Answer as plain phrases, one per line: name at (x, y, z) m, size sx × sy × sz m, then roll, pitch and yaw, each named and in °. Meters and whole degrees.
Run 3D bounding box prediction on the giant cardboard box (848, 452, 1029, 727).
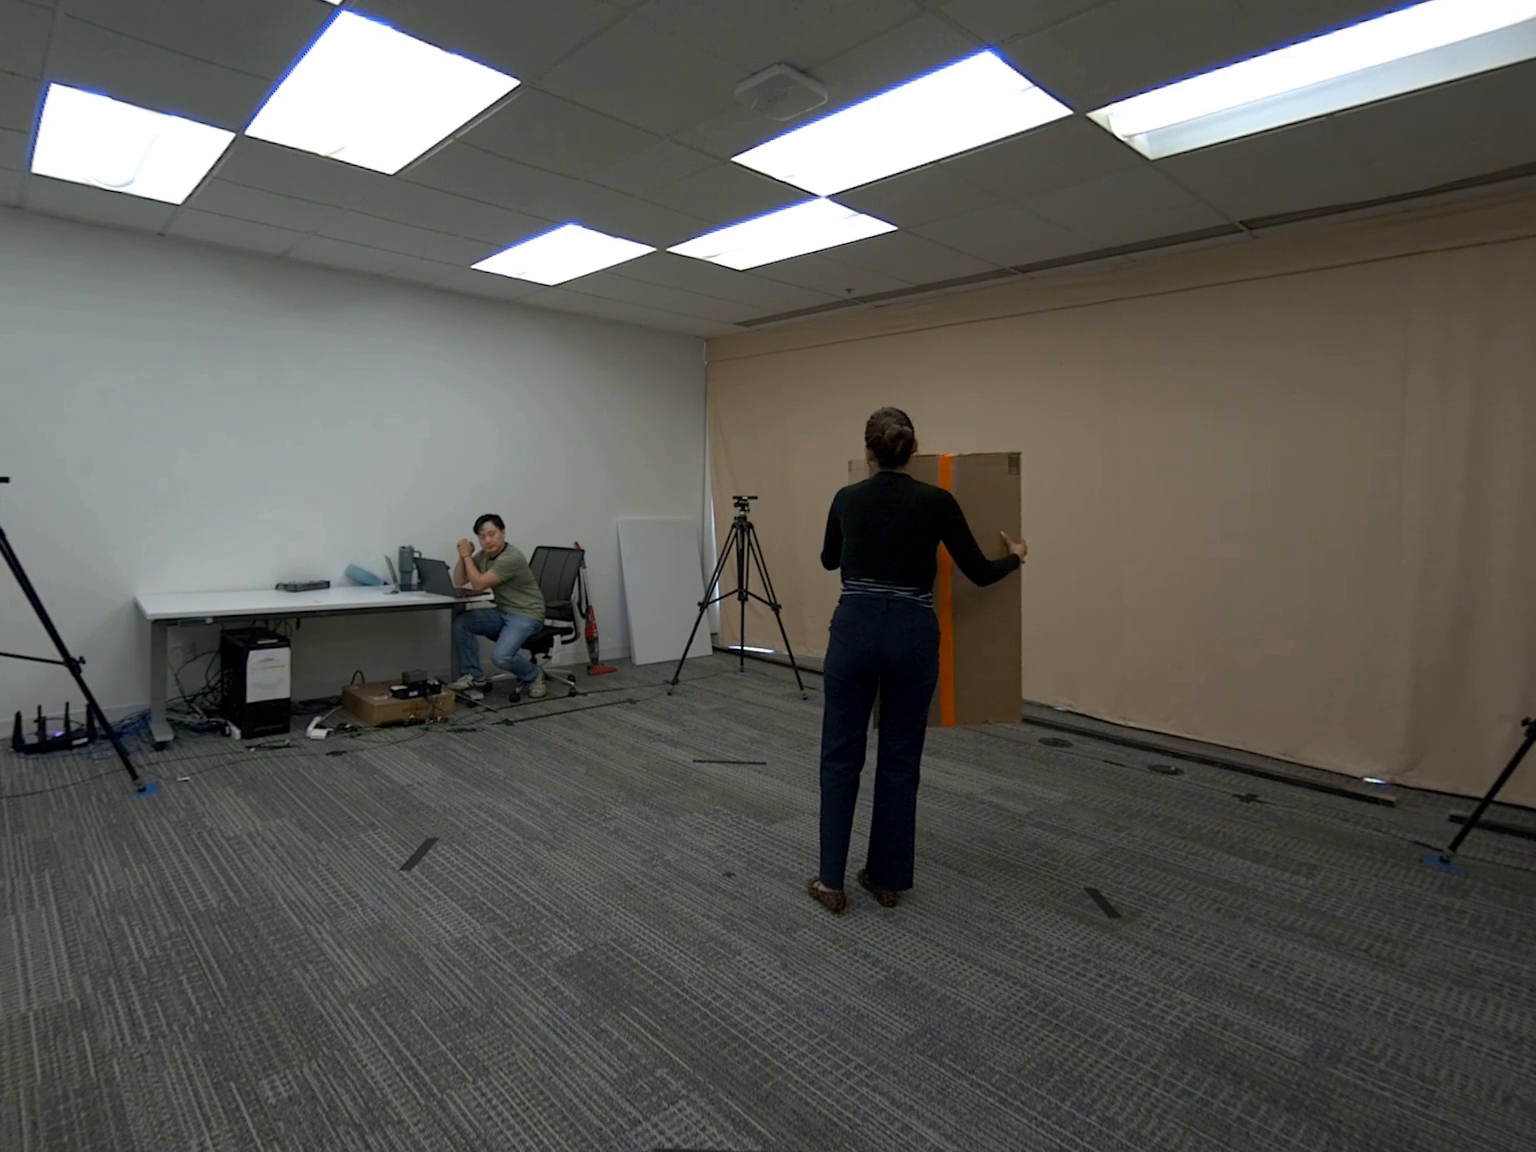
giant cardboard box at (0.641, 0.038, 3.333) m, size 0.577 × 1.023 × 0.428 m, roll -2°, pitch 4°, yaw -1°
